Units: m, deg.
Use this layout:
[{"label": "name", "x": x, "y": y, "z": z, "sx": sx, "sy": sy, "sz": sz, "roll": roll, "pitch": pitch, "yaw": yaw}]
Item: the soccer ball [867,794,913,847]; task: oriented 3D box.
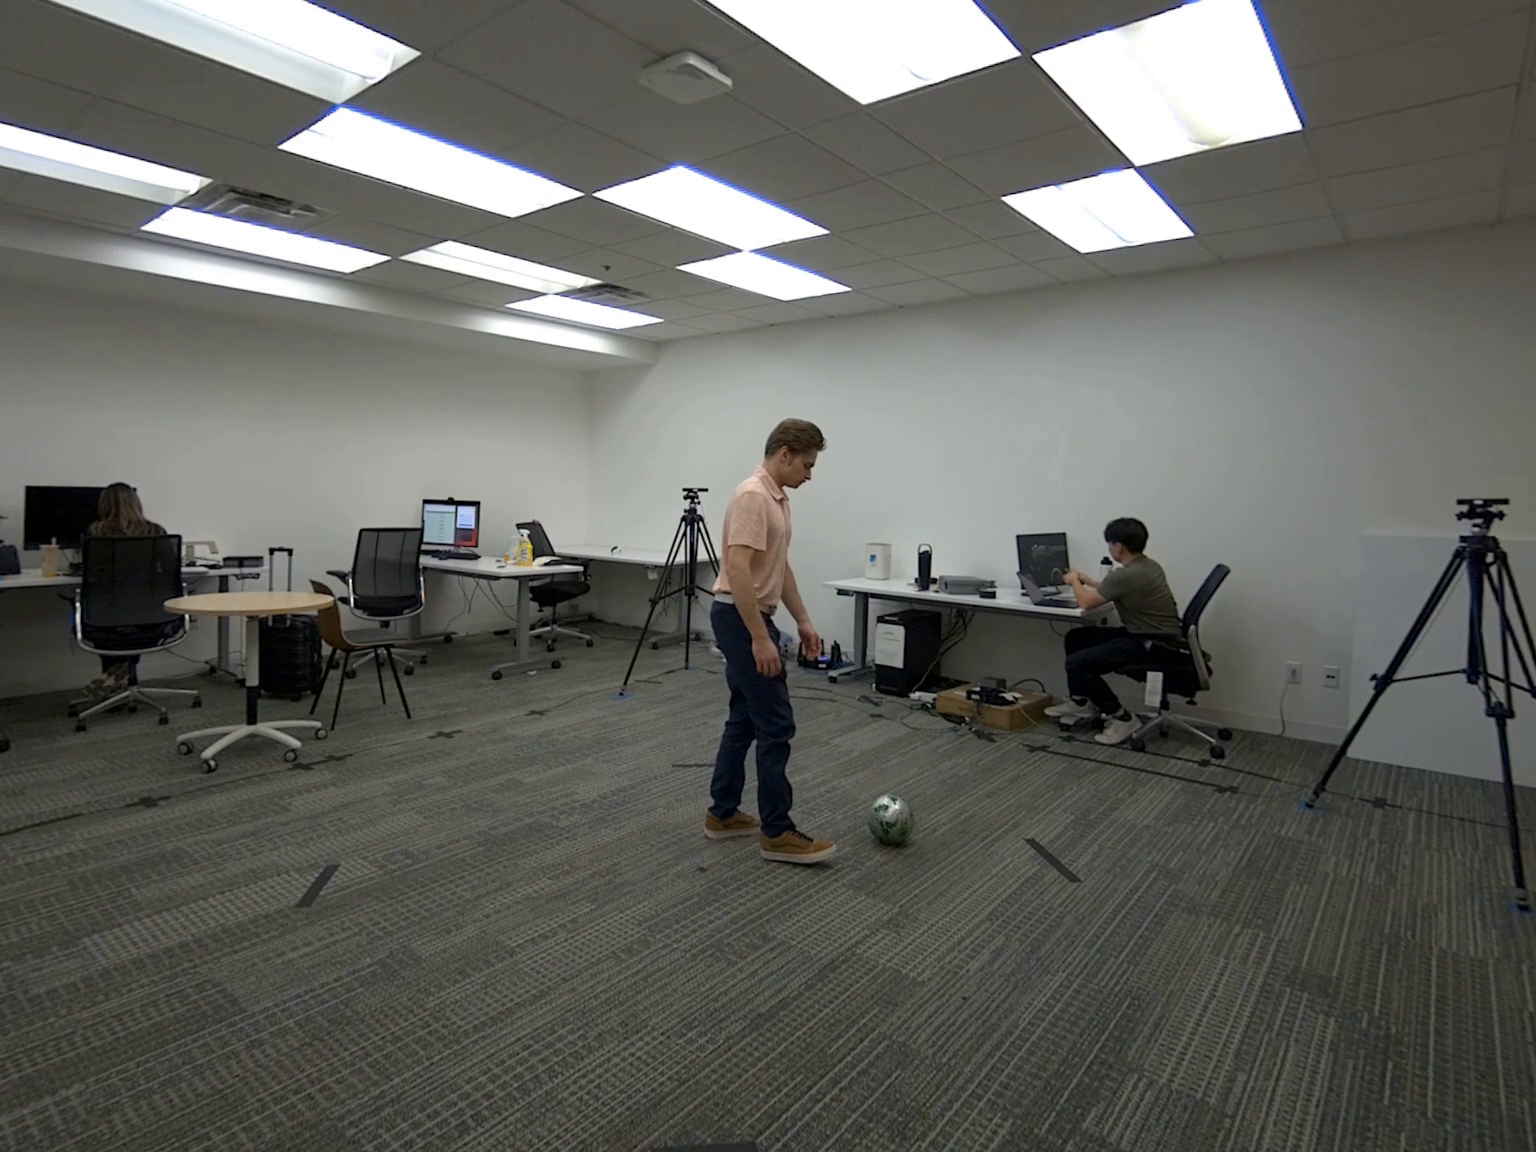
[{"label": "soccer ball", "x": 0.488, "y": 0.970, "z": 3.392, "sx": 0.187, "sy": 0.187, "sz": 0.188, "roll": 1, "pitch": 4, "yaw": -2}]
